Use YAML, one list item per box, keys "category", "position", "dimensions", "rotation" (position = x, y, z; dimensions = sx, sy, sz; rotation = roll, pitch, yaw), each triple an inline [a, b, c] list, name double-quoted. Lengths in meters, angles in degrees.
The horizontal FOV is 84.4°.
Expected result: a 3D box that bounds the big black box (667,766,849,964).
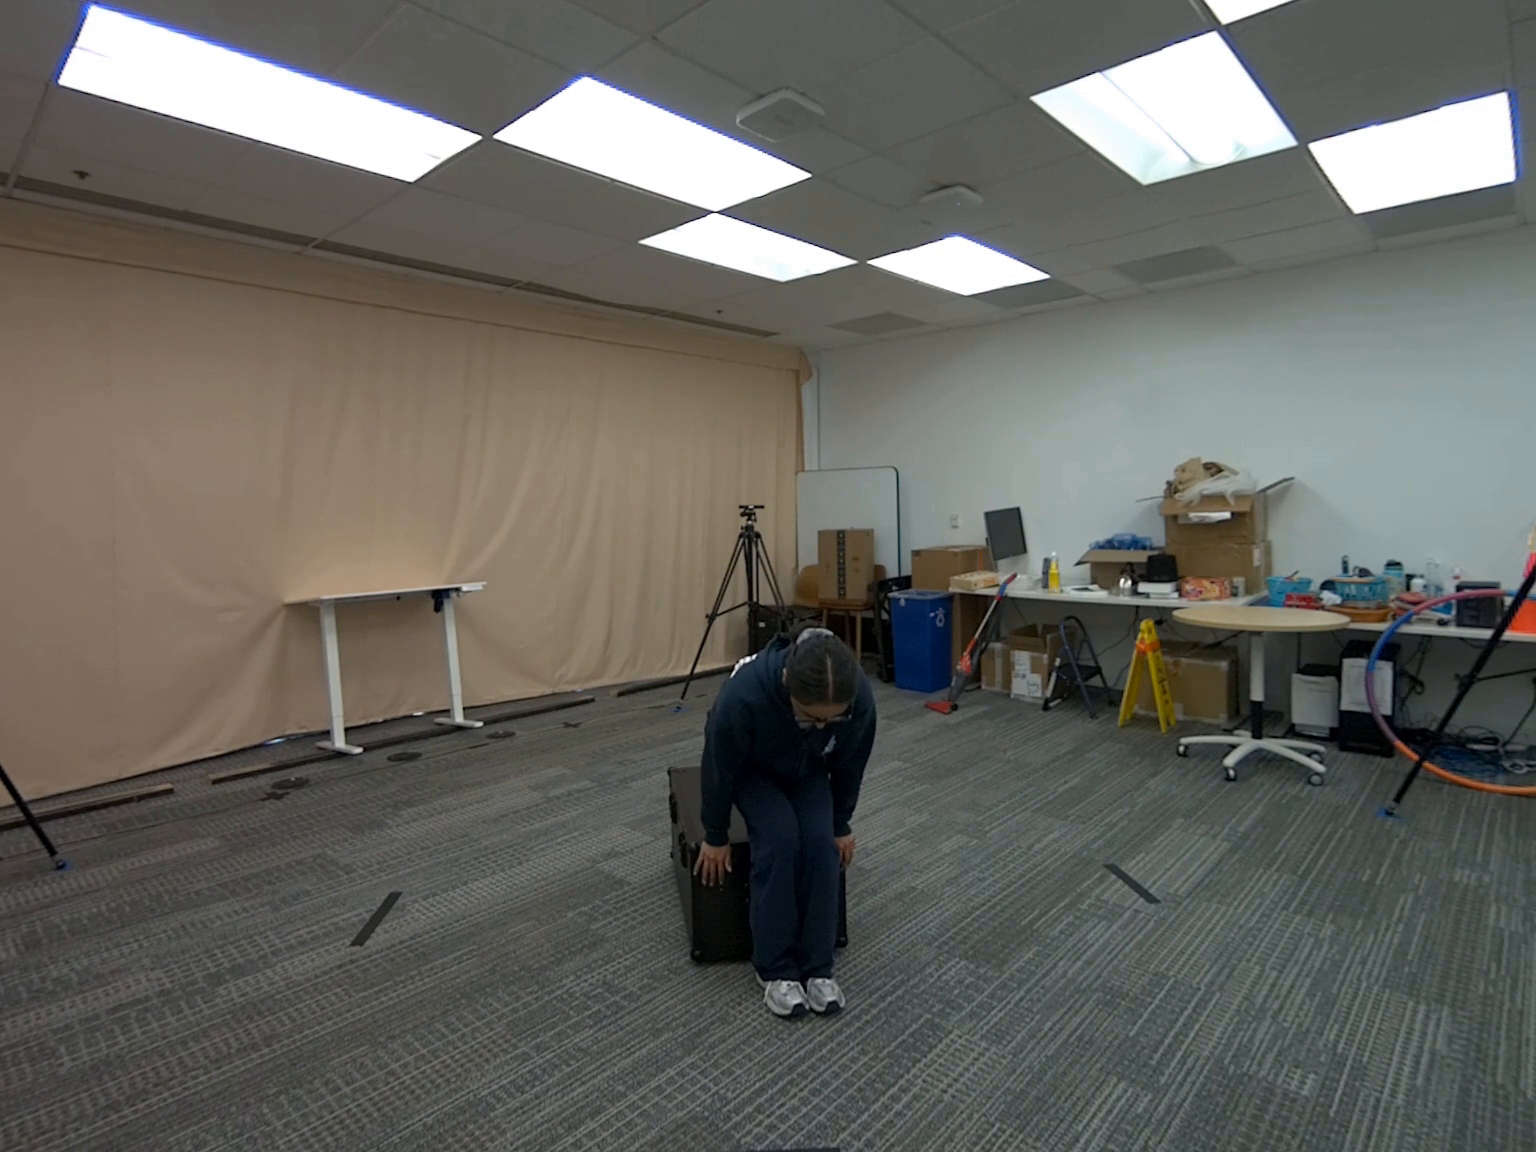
- category: "big black box"
  position: [-0.075, 0.946, 2.971]
  dimensions: [0.516, 0.395, 0.873]
  rotation: [-2, 6, -10]
